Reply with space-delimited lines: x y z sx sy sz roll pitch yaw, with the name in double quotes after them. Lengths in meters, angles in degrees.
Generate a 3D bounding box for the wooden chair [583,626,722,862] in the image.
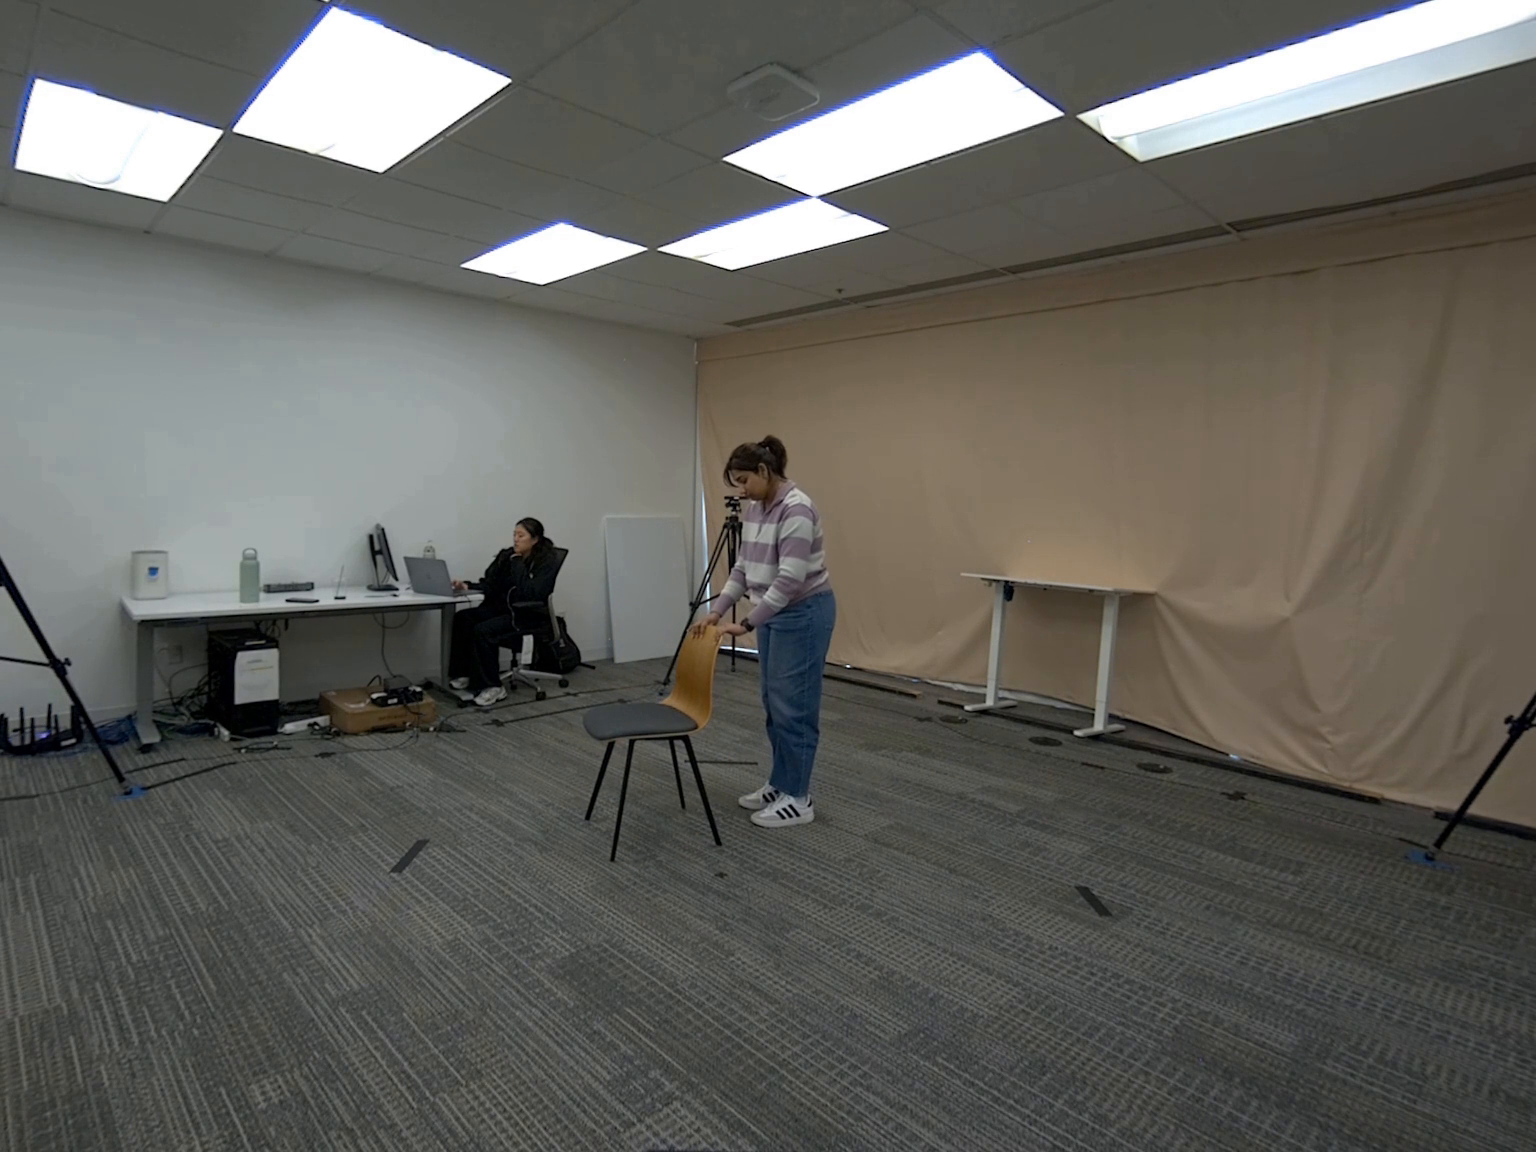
-0.490 0.639 3.448 0.513 0.876 0.487 4 2 -24 "wooden chair"
